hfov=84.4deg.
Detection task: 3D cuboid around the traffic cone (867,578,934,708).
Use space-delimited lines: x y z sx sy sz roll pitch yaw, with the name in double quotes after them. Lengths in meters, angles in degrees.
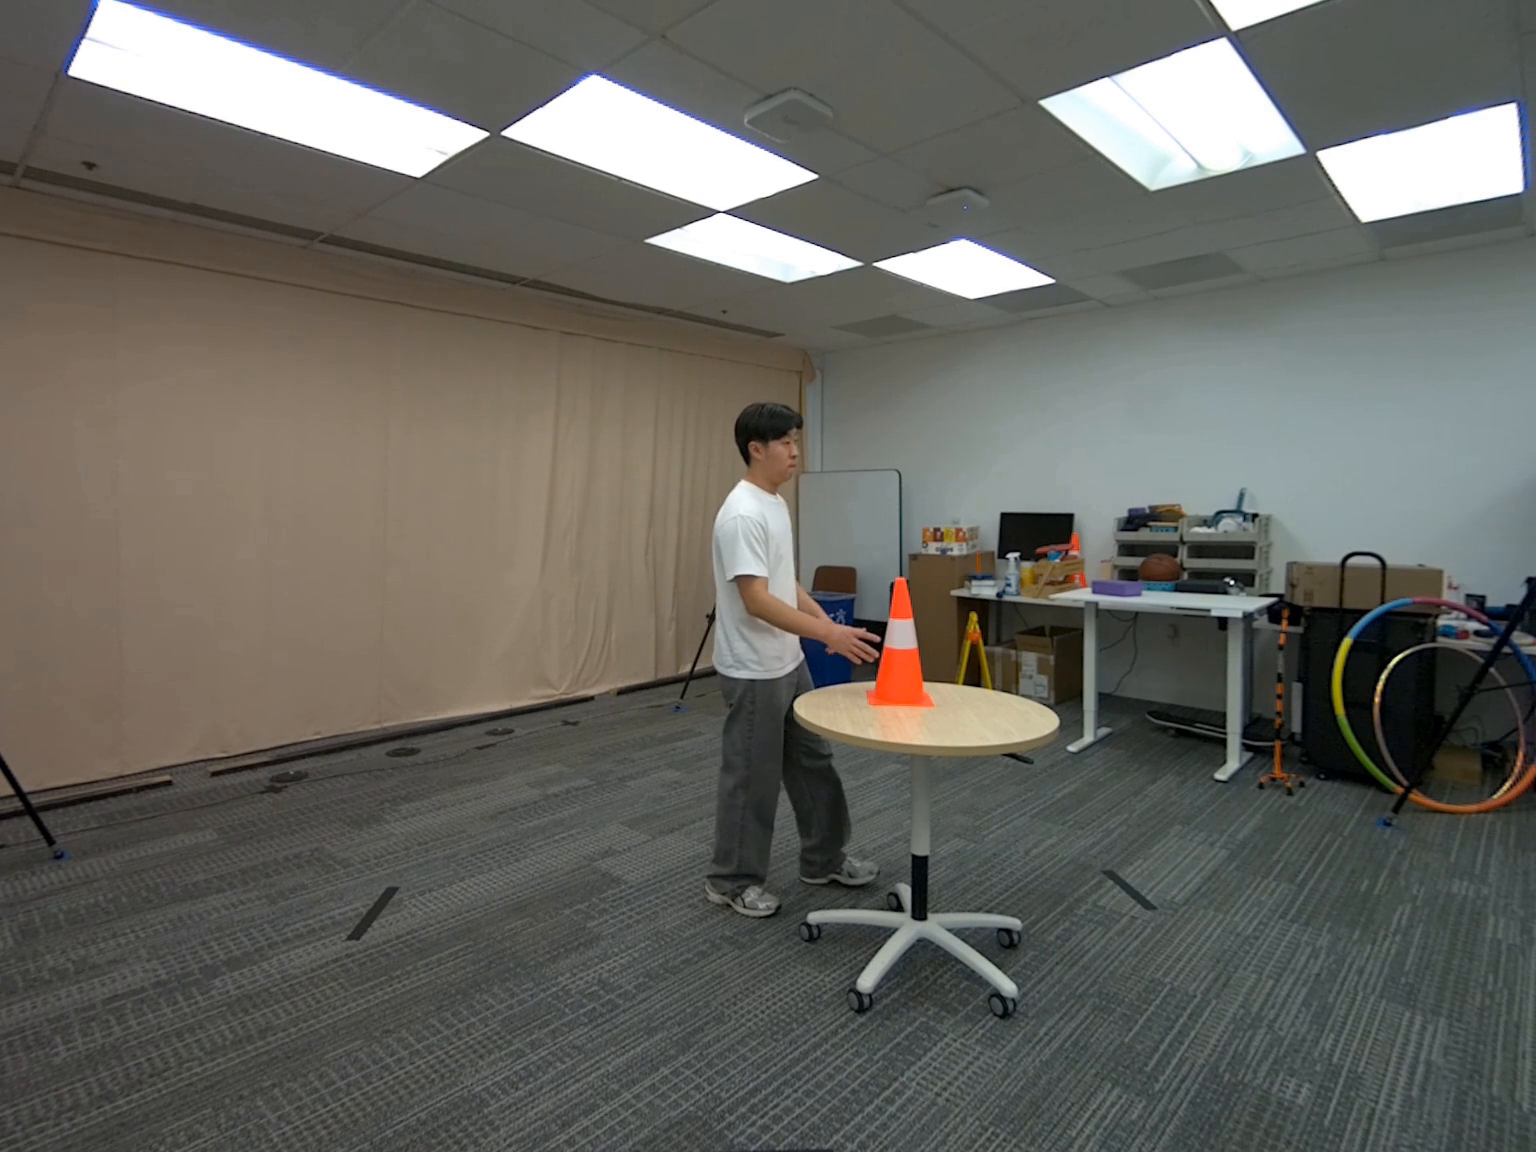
0.420 0.205 2.638 0.206 0.383 0.202 -1 3 6 "traffic cone"
